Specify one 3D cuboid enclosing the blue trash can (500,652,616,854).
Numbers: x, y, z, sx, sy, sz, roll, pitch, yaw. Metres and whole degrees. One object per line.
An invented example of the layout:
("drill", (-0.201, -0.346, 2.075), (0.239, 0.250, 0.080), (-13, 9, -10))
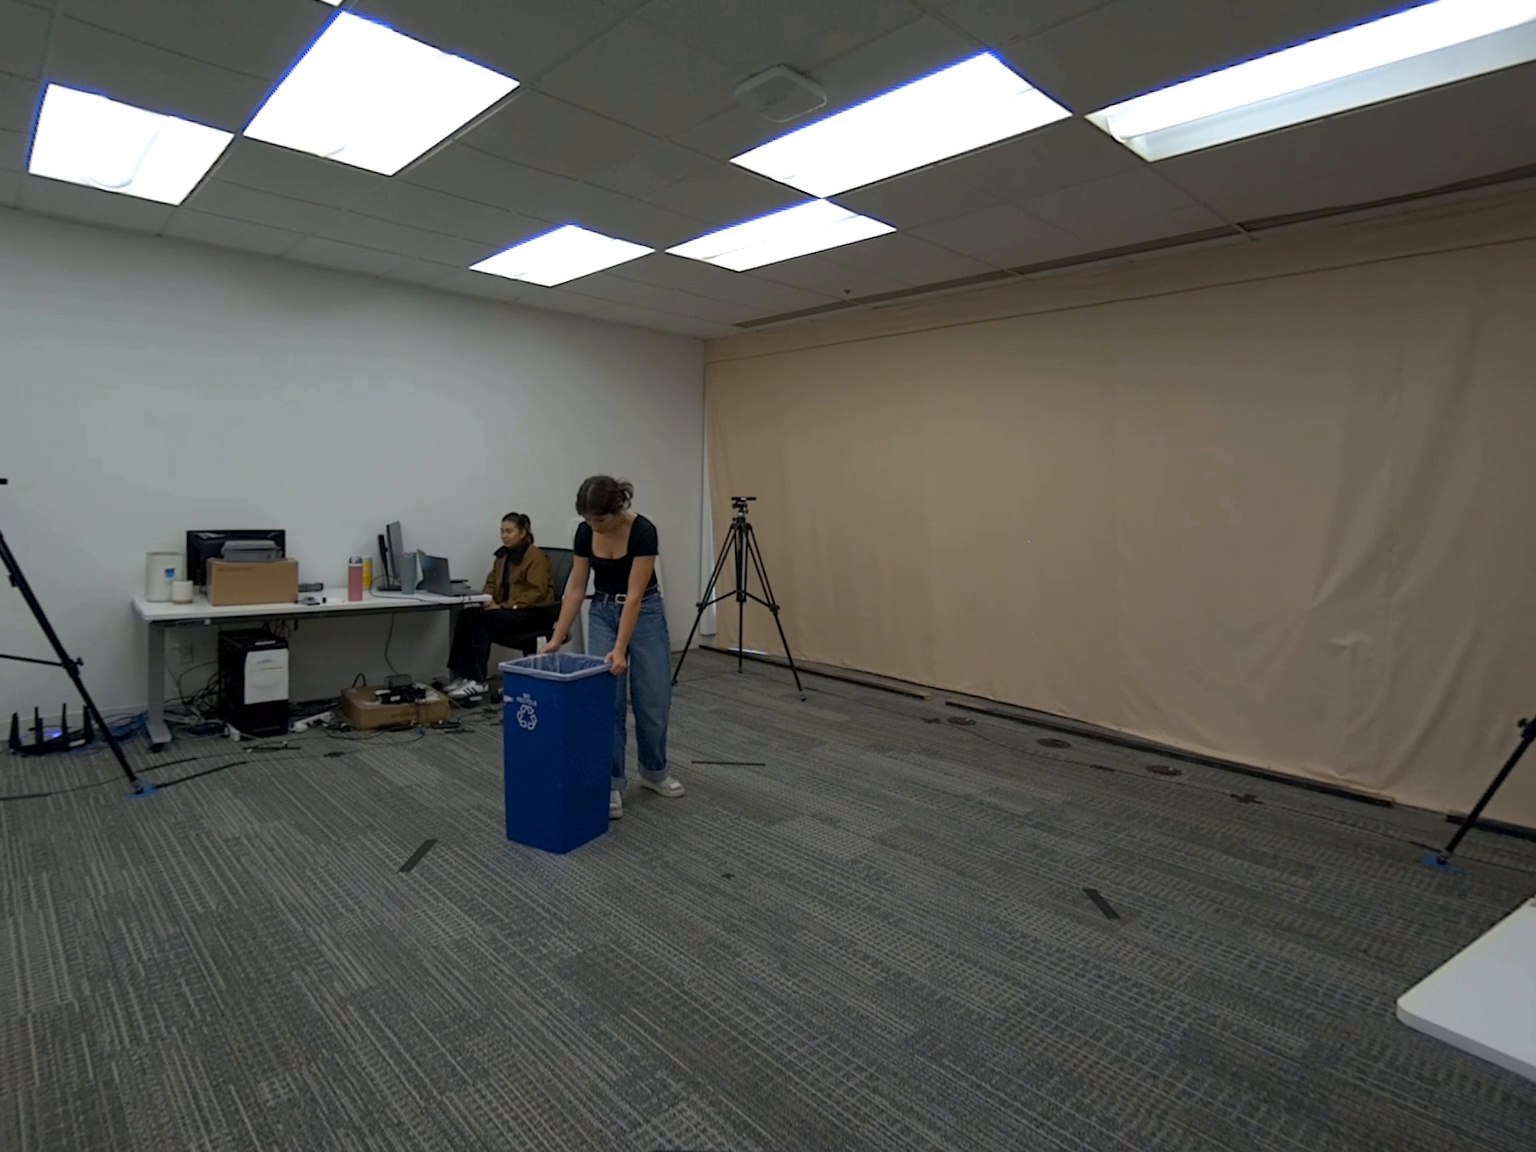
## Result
("blue trash can", (-0.854, 0.706, 3.431), (0.382, 0.712, 0.371), (3, 4, 28))
